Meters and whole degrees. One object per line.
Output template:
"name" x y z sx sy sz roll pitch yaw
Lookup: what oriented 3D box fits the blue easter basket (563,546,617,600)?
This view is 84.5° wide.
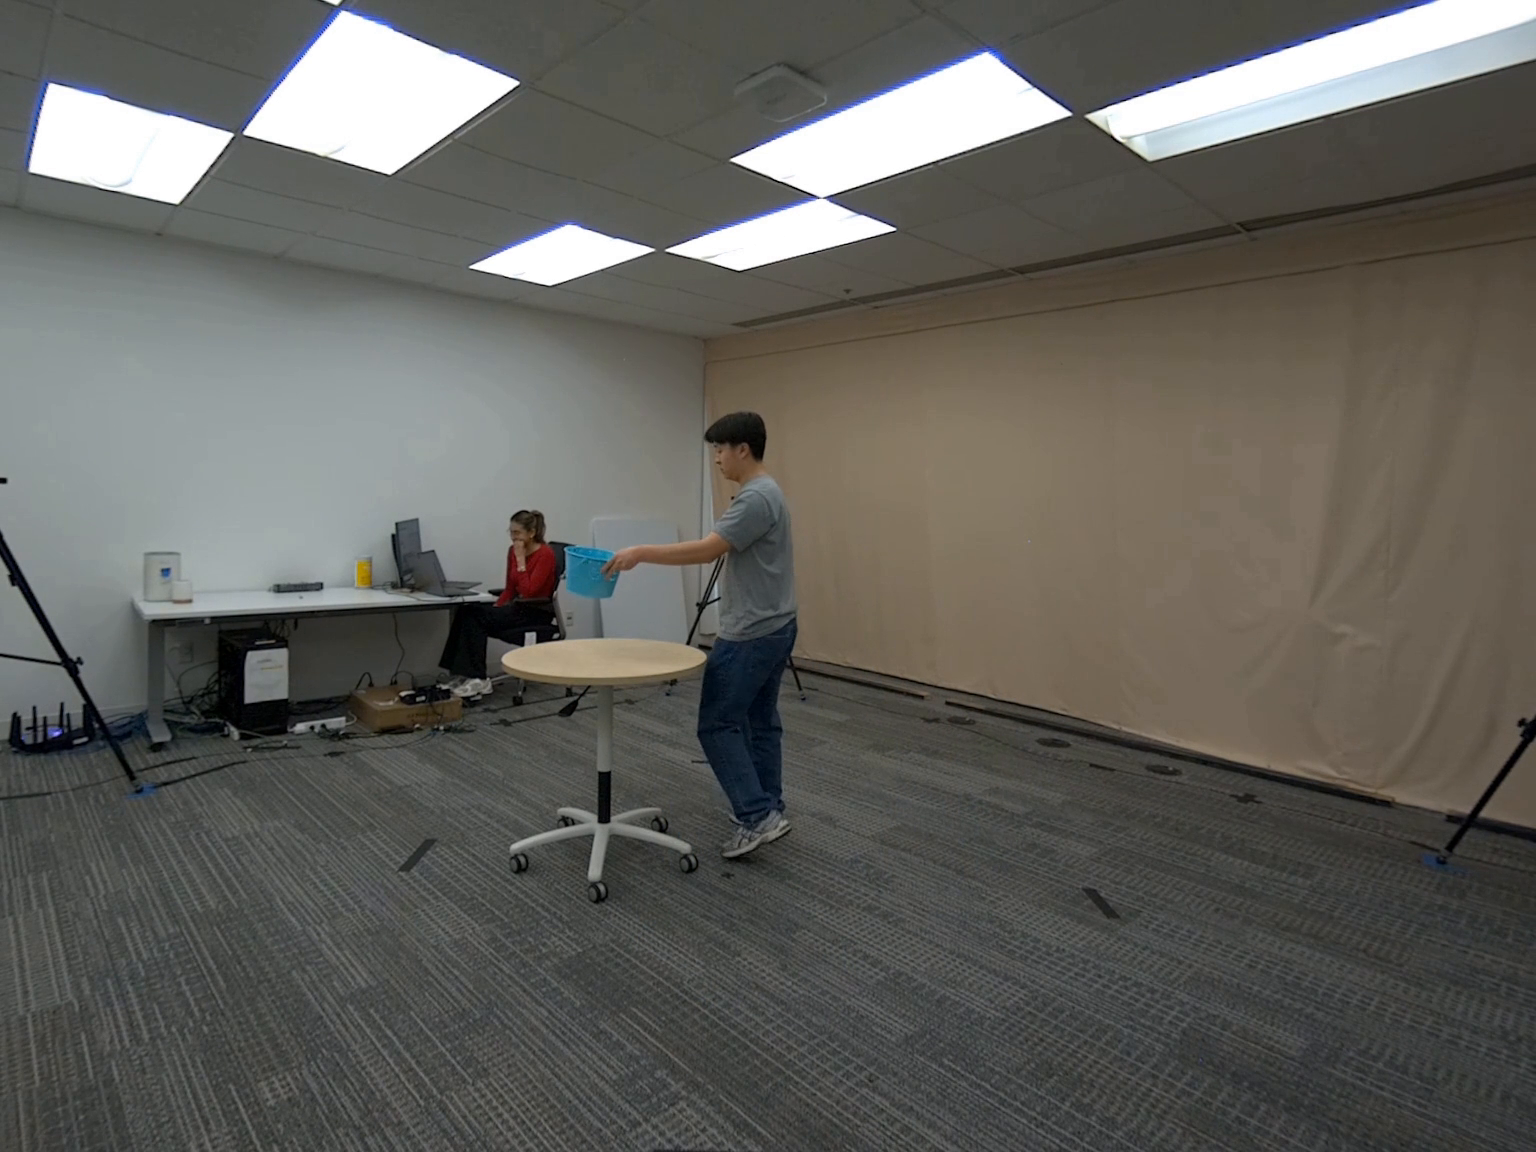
"blue easter basket" -0.683 -0.014 3.222 0.243 0.155 0.245 11 9 -3
